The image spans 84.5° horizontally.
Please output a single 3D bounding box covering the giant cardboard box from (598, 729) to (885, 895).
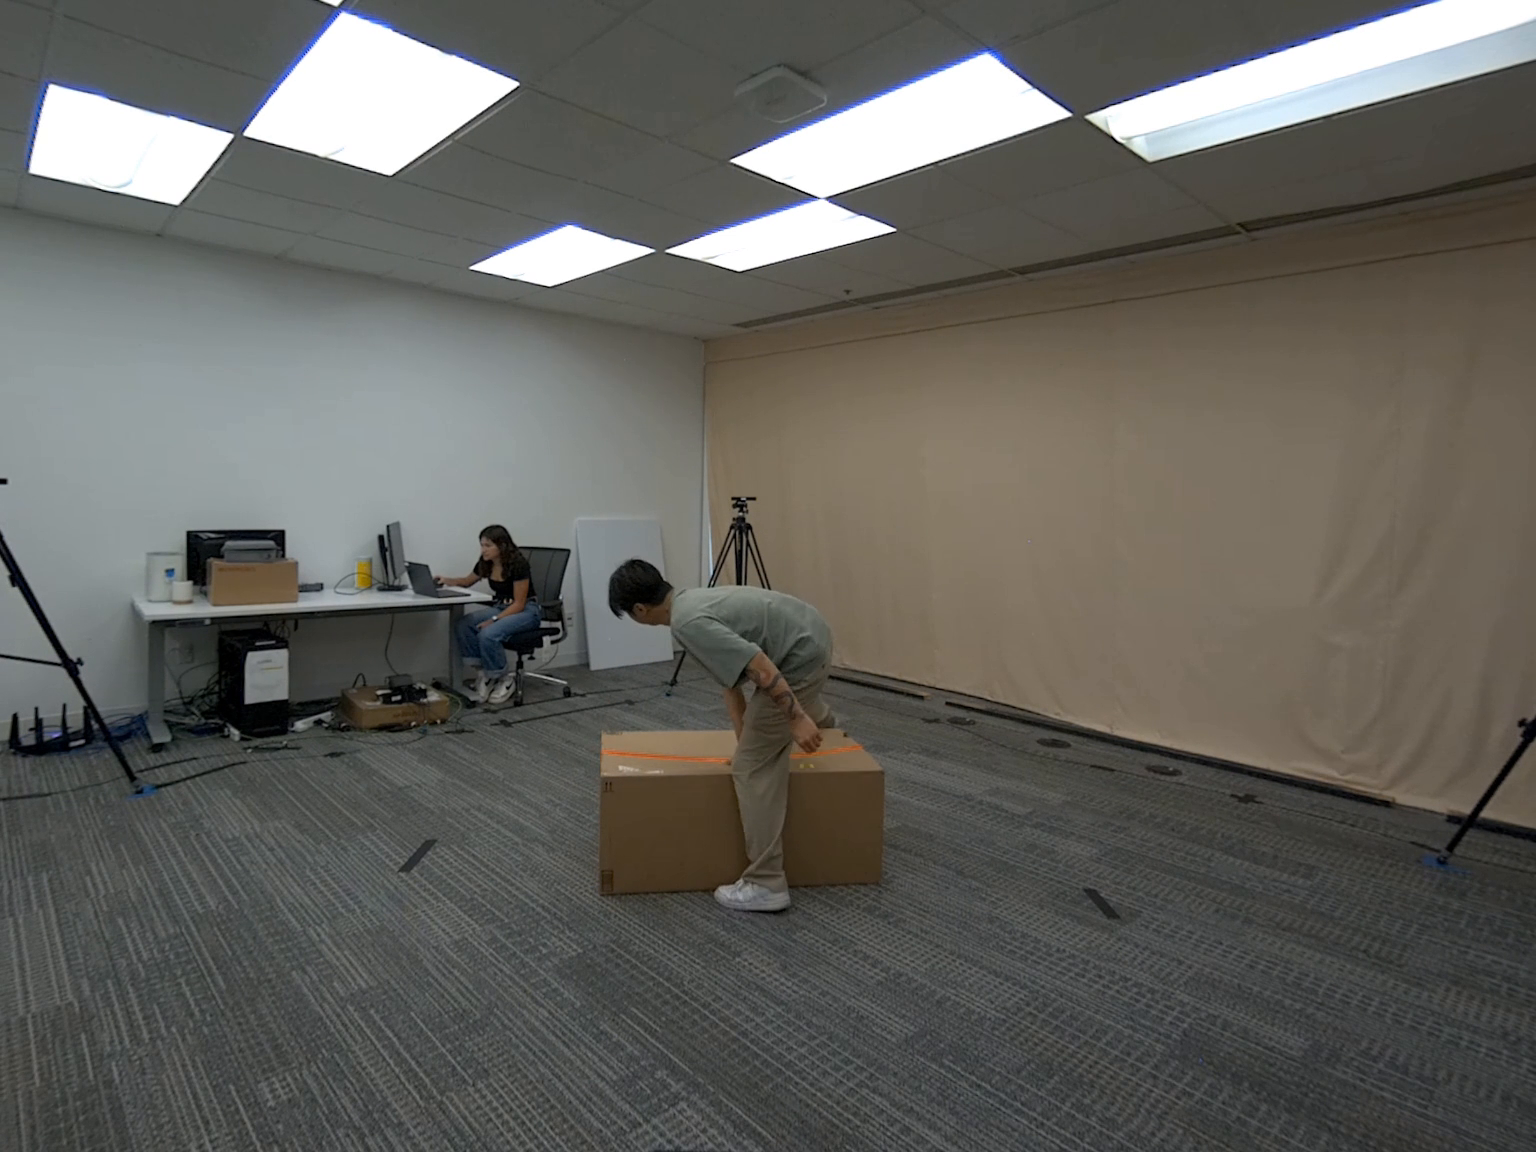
[{"bbox_3d":[-0.142,0.886,3.270,1.019,0.425,0.583,0,5,-9],"label":"giant cardboard box"}]
